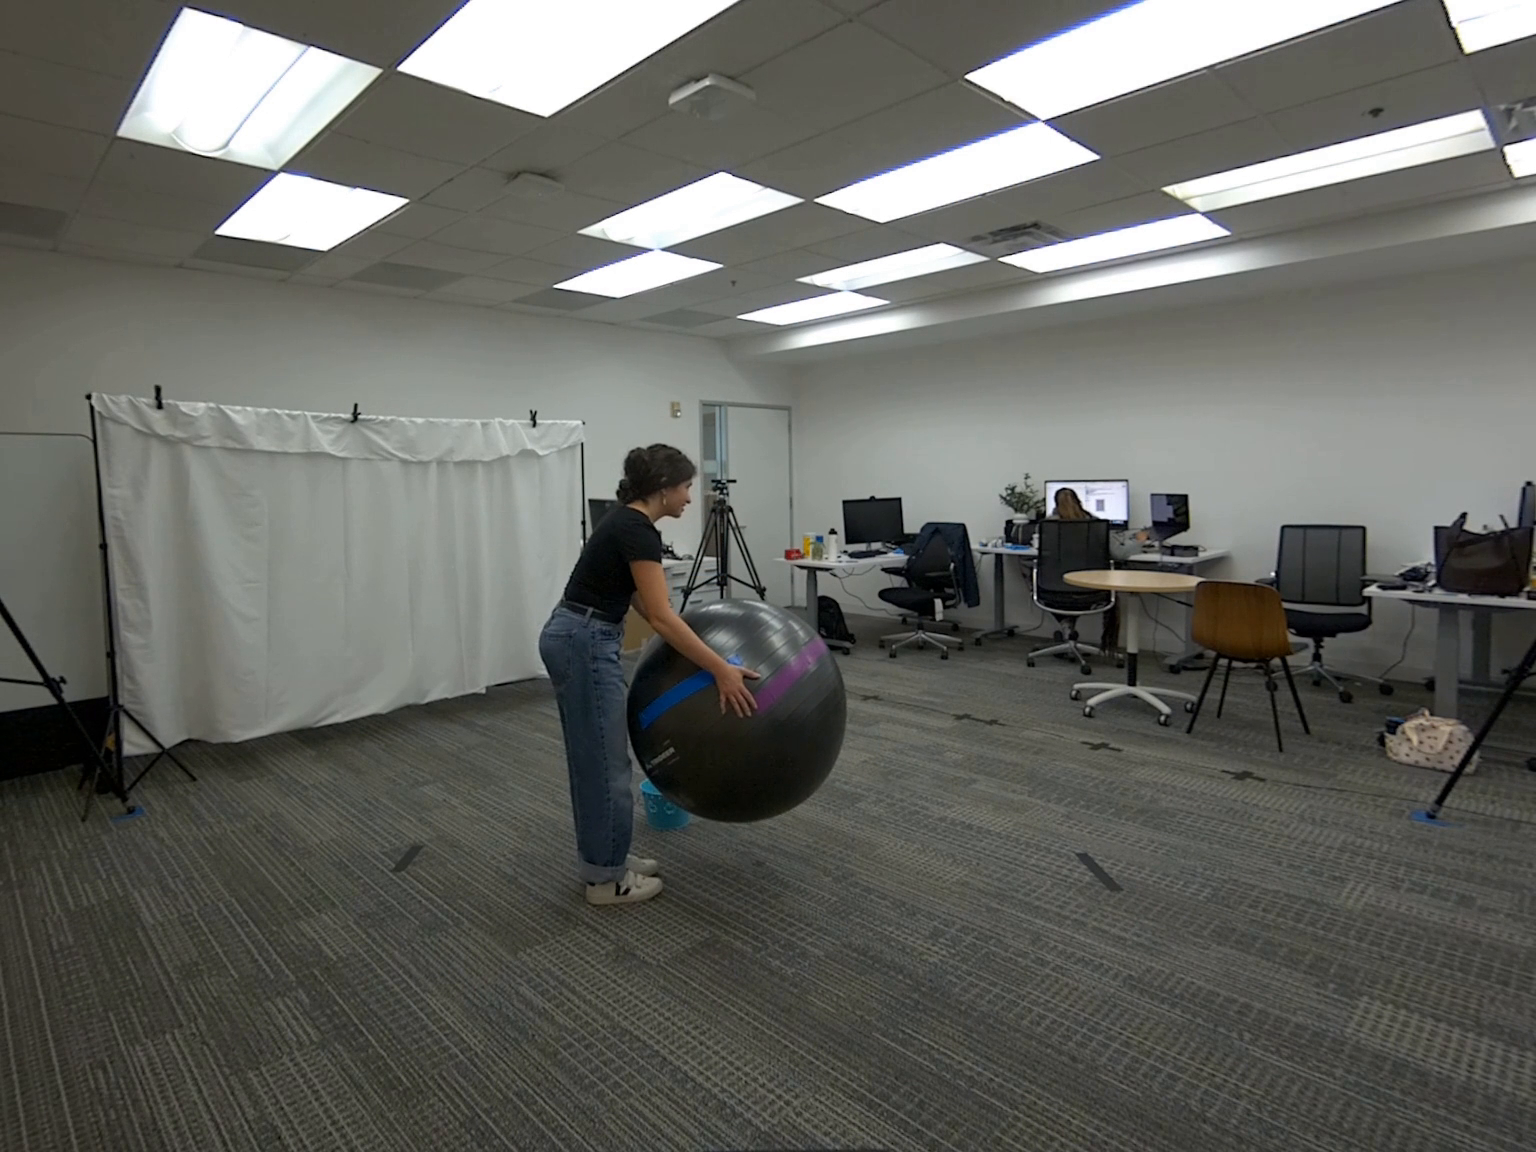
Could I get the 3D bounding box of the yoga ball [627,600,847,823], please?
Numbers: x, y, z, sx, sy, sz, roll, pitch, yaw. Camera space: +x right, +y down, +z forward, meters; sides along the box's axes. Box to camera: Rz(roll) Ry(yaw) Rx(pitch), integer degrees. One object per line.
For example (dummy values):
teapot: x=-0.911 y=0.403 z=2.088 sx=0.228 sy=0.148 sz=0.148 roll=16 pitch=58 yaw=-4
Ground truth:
yoga ball: x=-0.098 y=0.466 z=2.958 sx=0.757 sy=0.755 sz=0.762 roll=-1 pitch=5 yaw=-2
